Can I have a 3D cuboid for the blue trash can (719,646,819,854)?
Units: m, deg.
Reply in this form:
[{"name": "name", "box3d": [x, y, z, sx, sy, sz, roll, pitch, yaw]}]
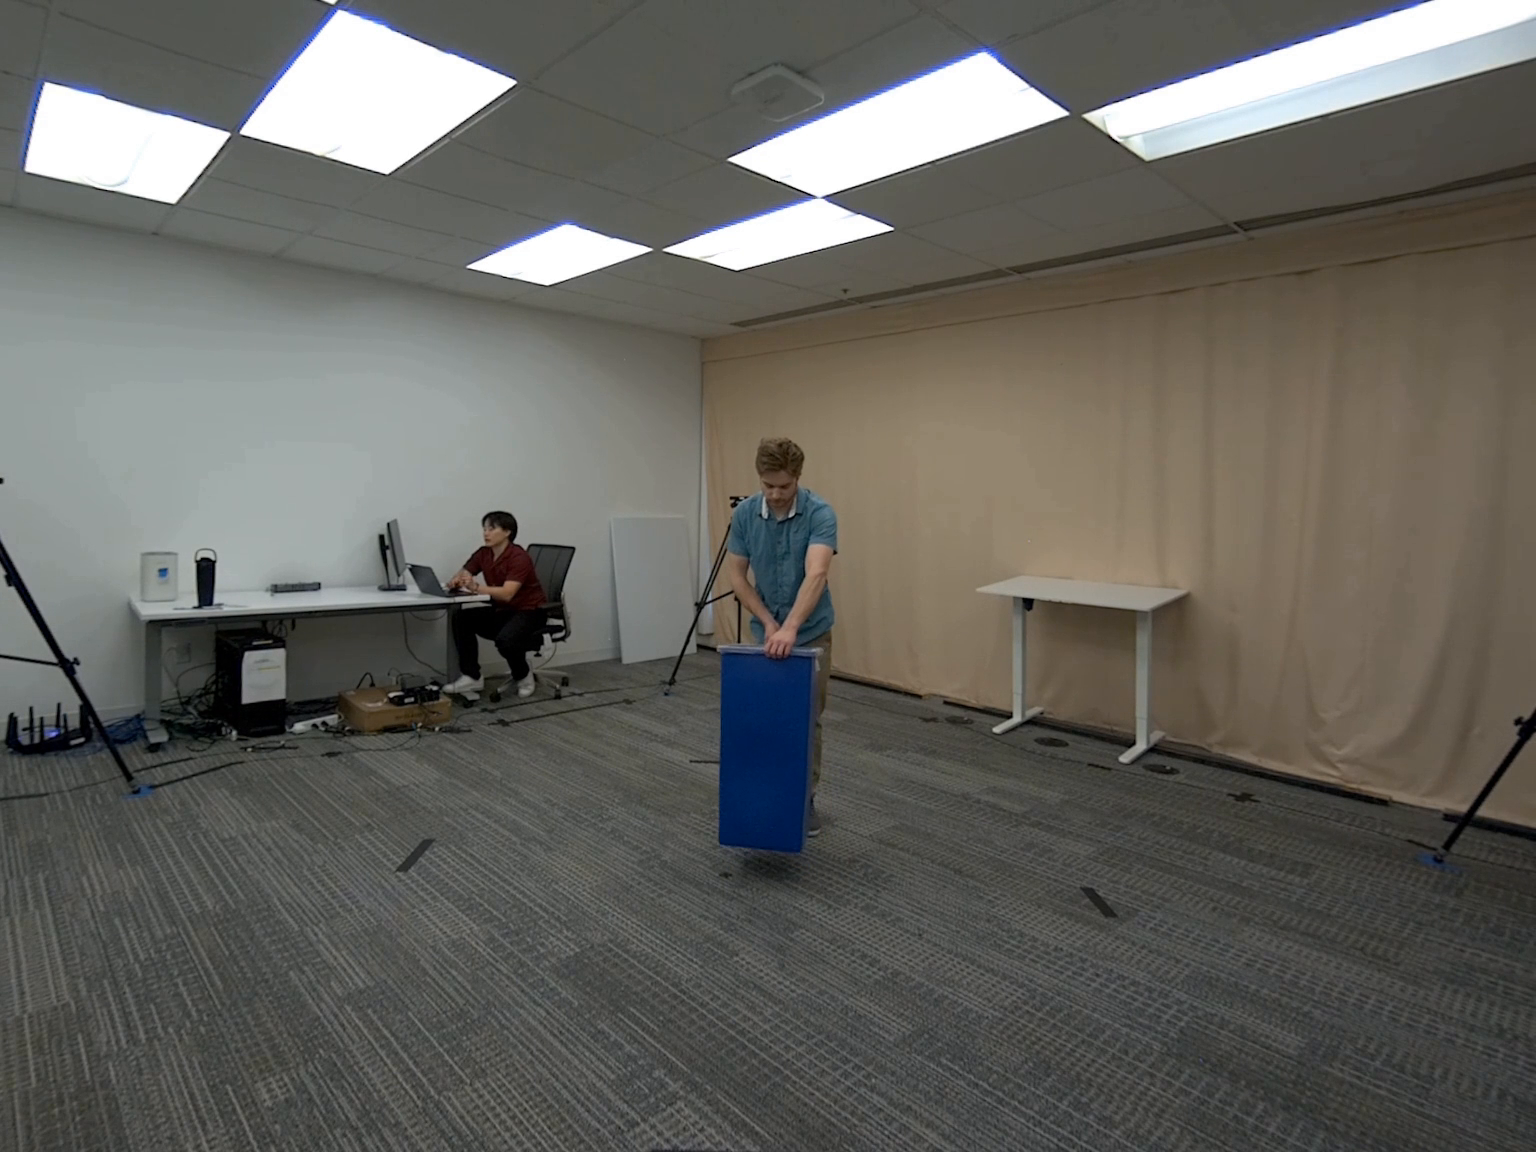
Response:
[{"name": "blue trash can", "box3d": [-0.008, 0.635, 3.183, 0.381, 0.716, 0.370, 1, -4, 9]}]
